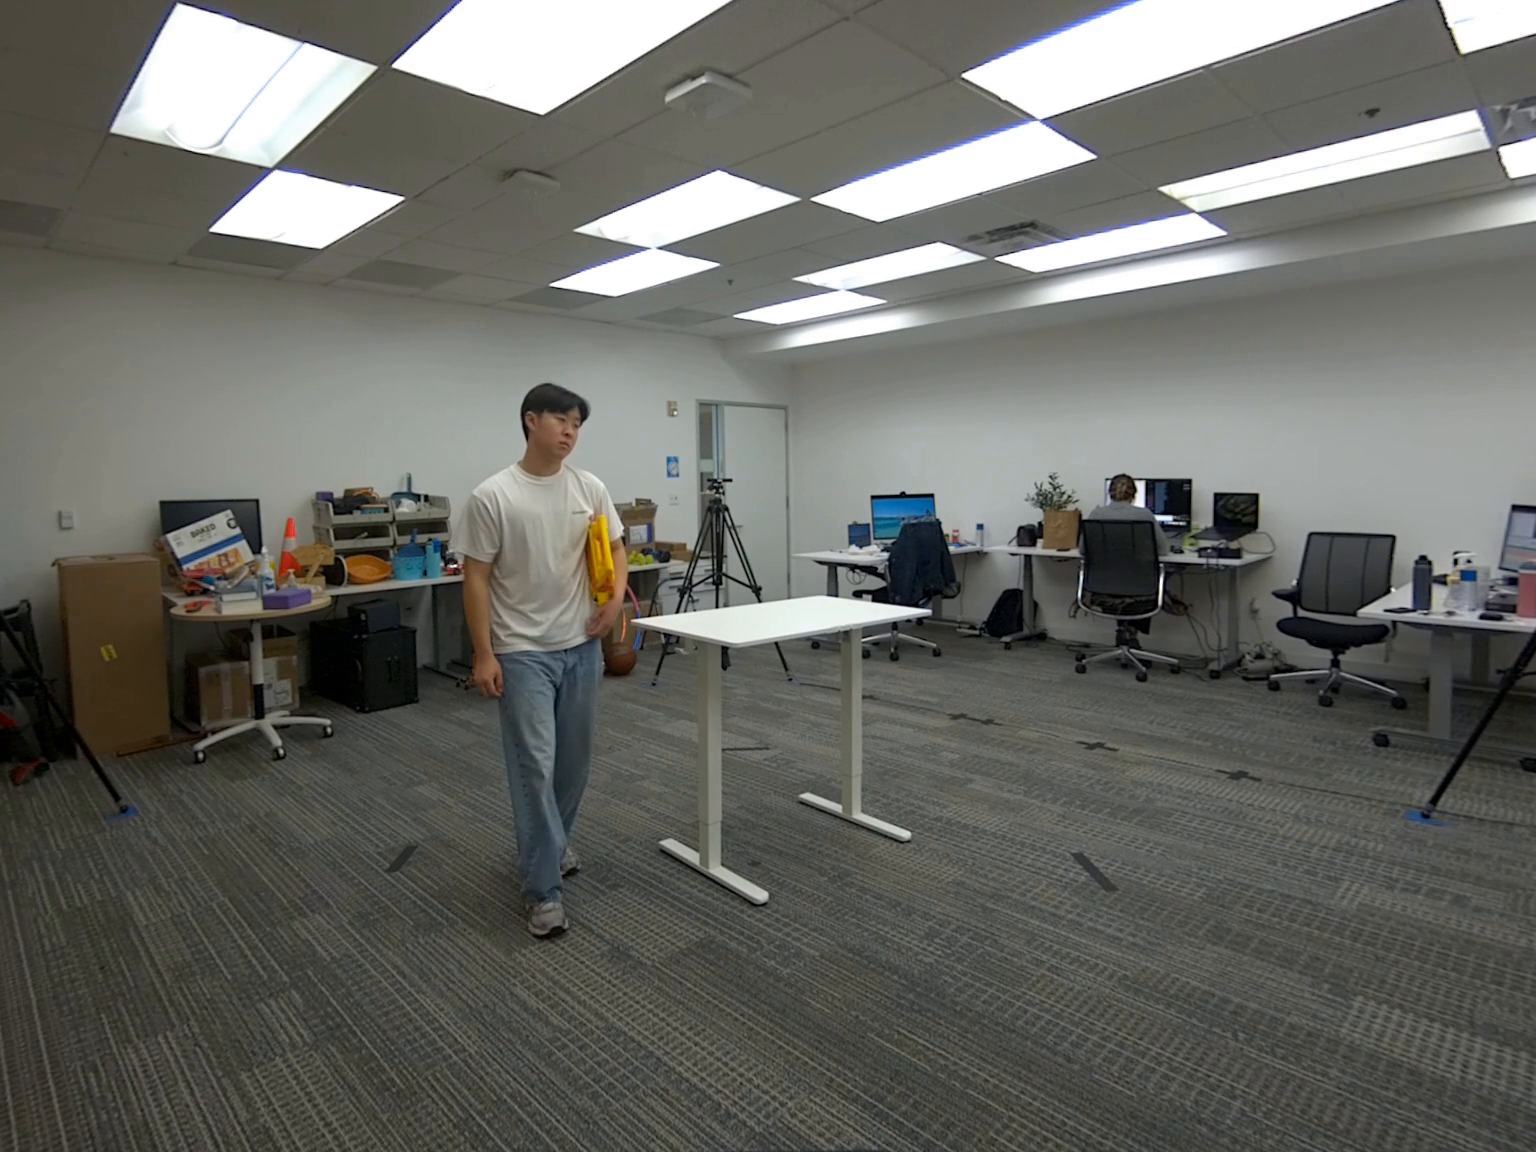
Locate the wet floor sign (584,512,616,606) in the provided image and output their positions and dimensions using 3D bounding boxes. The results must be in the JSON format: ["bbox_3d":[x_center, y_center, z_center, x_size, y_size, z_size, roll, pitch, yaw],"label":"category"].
[{"bbox_3d":[-0.629,0.000,3.082,0.285,0.287,0.645,-3,-16,-19],"label":"wet floor sign"}]
